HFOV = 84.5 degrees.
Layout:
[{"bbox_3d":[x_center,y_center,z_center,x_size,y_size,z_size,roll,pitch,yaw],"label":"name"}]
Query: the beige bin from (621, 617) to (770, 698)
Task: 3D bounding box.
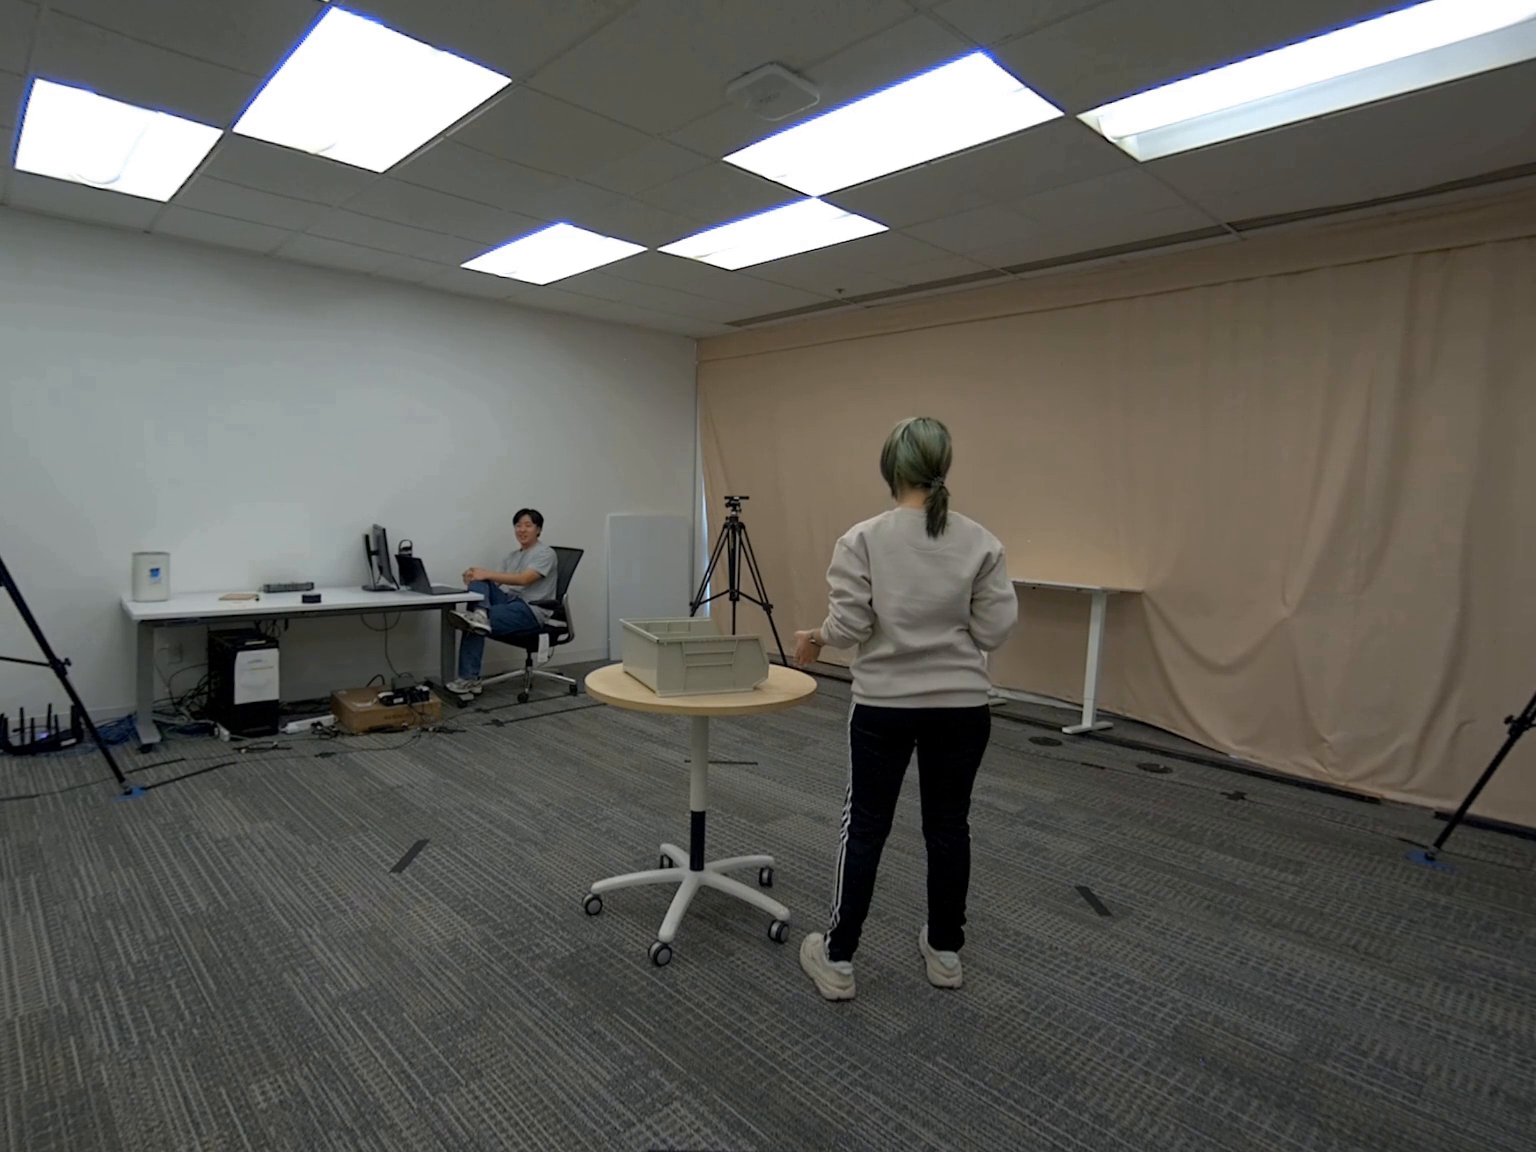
[{"bbox_3d":[-0.261,0.259,2.773,0.371,0.188,0.431,-2,7,-23],"label":"beige bin"}]
